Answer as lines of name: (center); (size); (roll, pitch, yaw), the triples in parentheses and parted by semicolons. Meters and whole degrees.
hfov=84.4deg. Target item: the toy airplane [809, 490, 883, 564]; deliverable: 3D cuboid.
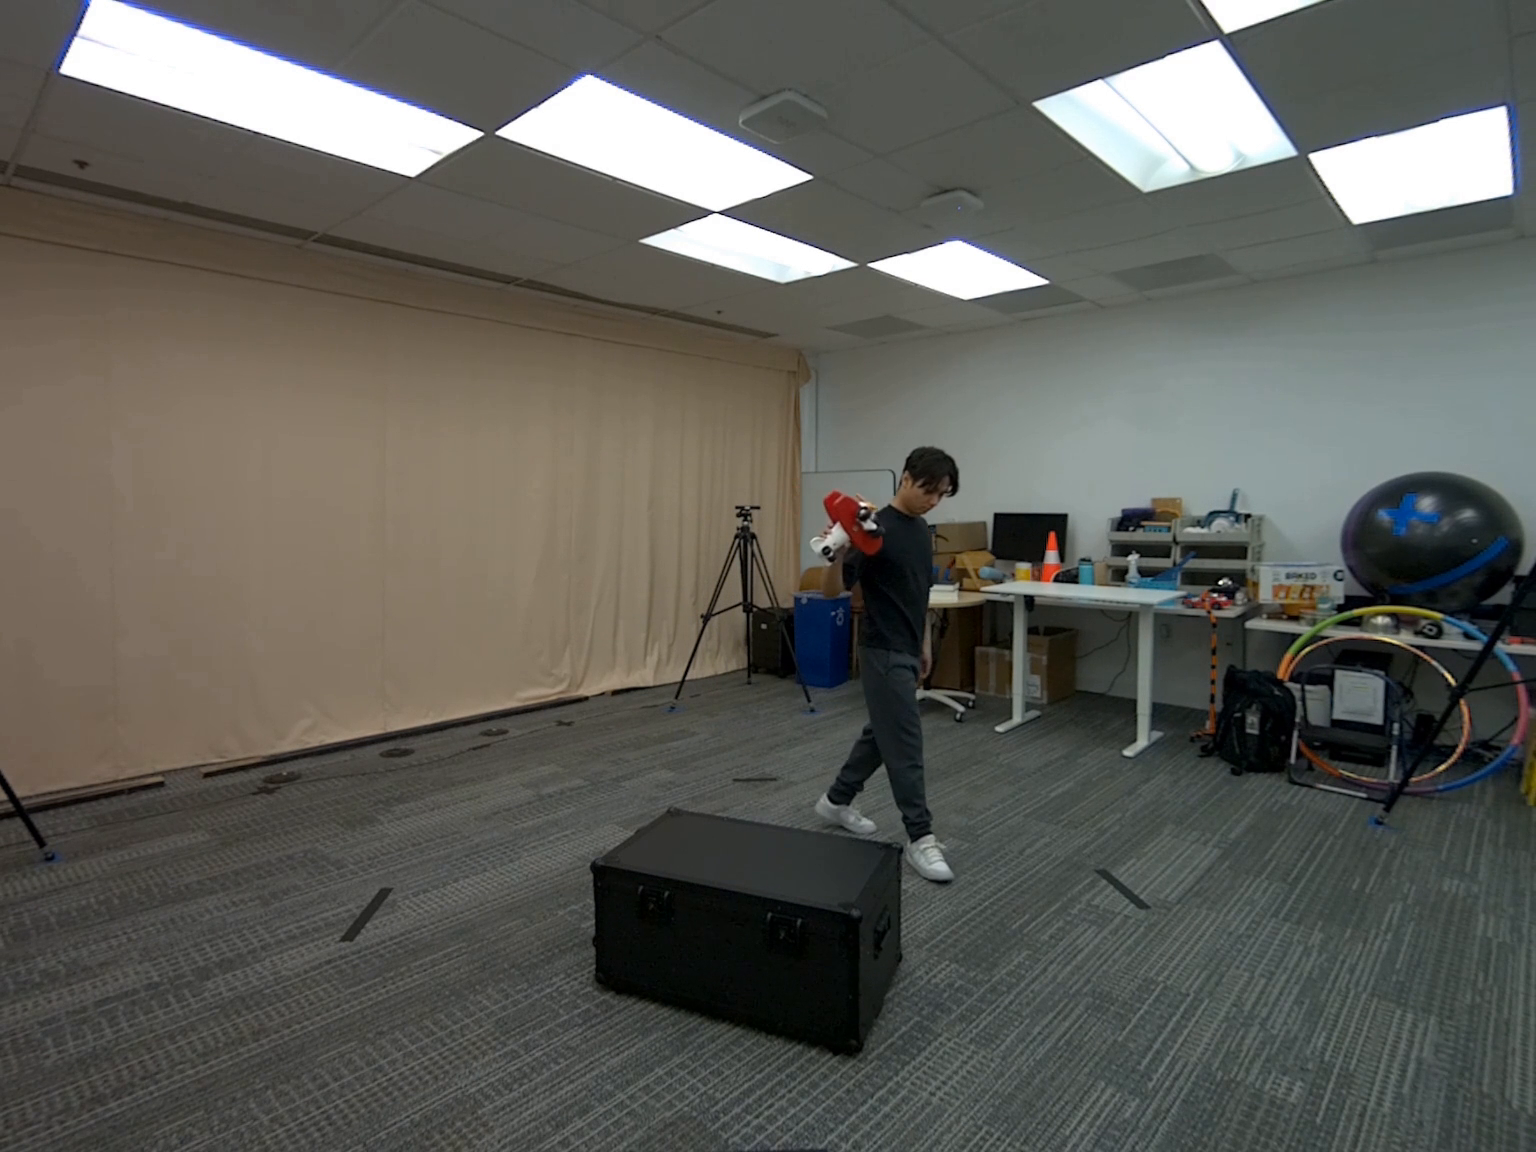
toy airplane: (0.265, -0.170, 2.929); (0.258, 0.246, 0.160); (-11, 27, -3)
